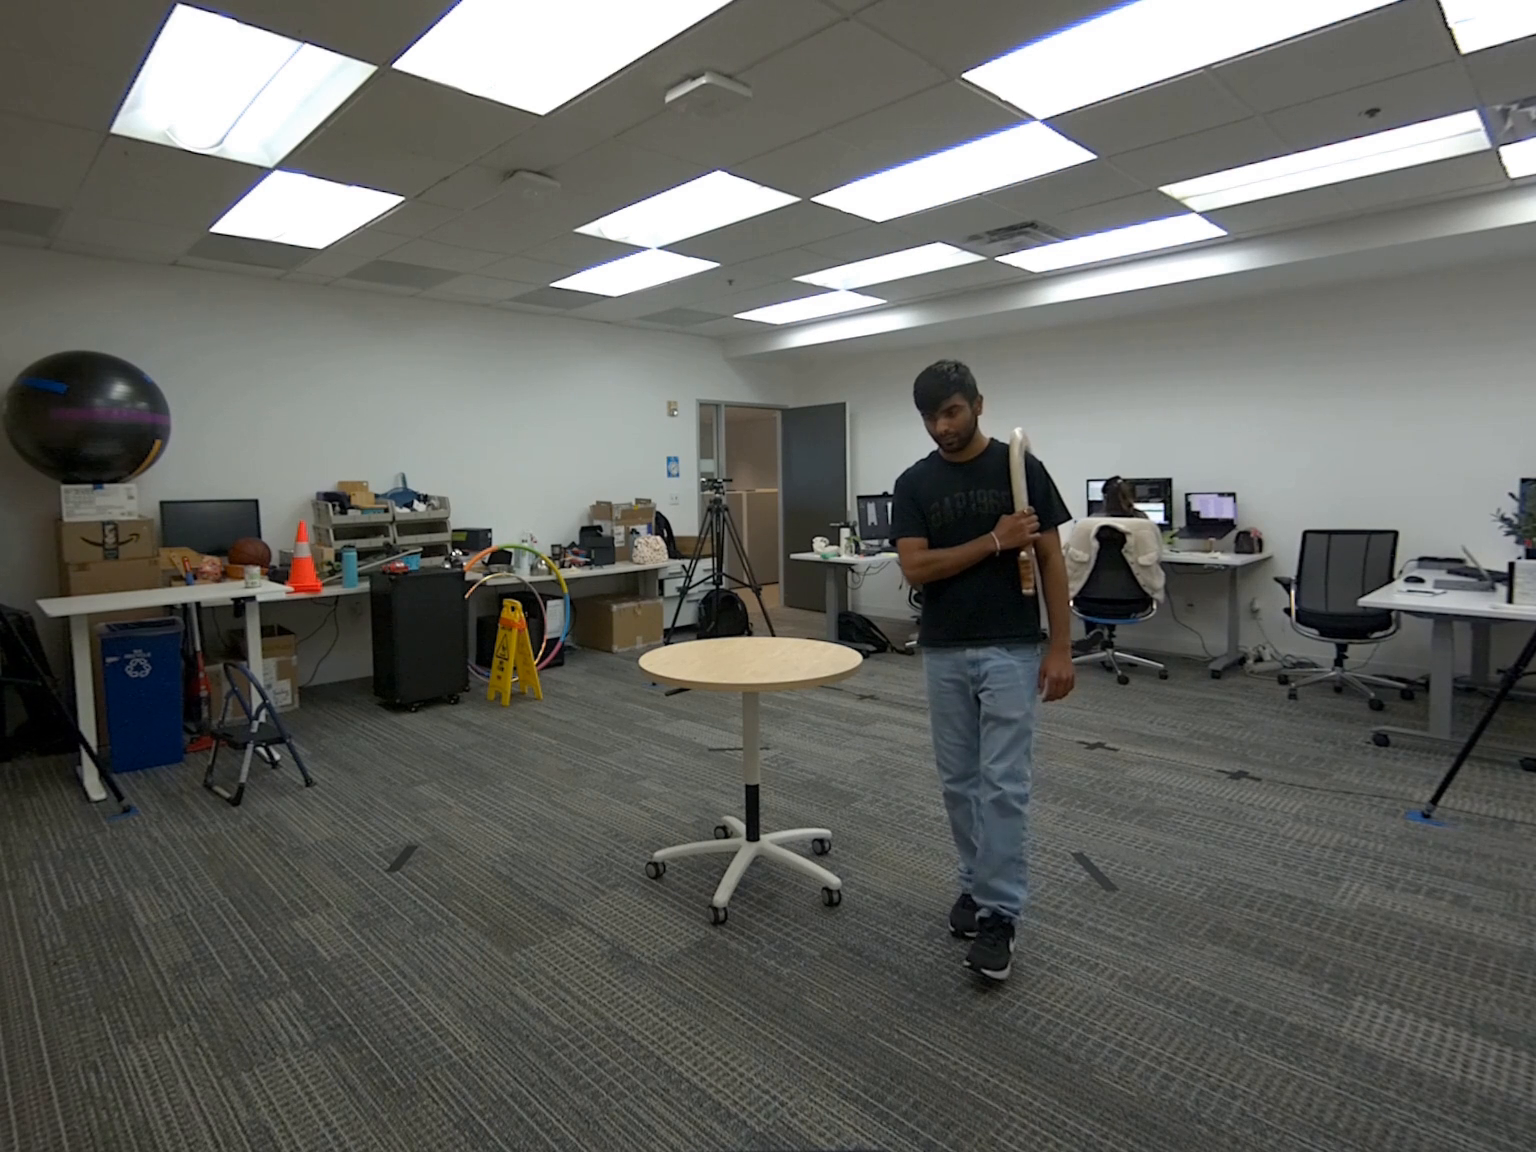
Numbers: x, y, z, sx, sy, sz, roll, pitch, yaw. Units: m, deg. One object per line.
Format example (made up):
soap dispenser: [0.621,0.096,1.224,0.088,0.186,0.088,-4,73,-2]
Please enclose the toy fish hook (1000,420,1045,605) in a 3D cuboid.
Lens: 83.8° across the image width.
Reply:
toy fish hook: [0.750,-0.182,2.524,0.049,0.512,0.217,-6,-13,33]
